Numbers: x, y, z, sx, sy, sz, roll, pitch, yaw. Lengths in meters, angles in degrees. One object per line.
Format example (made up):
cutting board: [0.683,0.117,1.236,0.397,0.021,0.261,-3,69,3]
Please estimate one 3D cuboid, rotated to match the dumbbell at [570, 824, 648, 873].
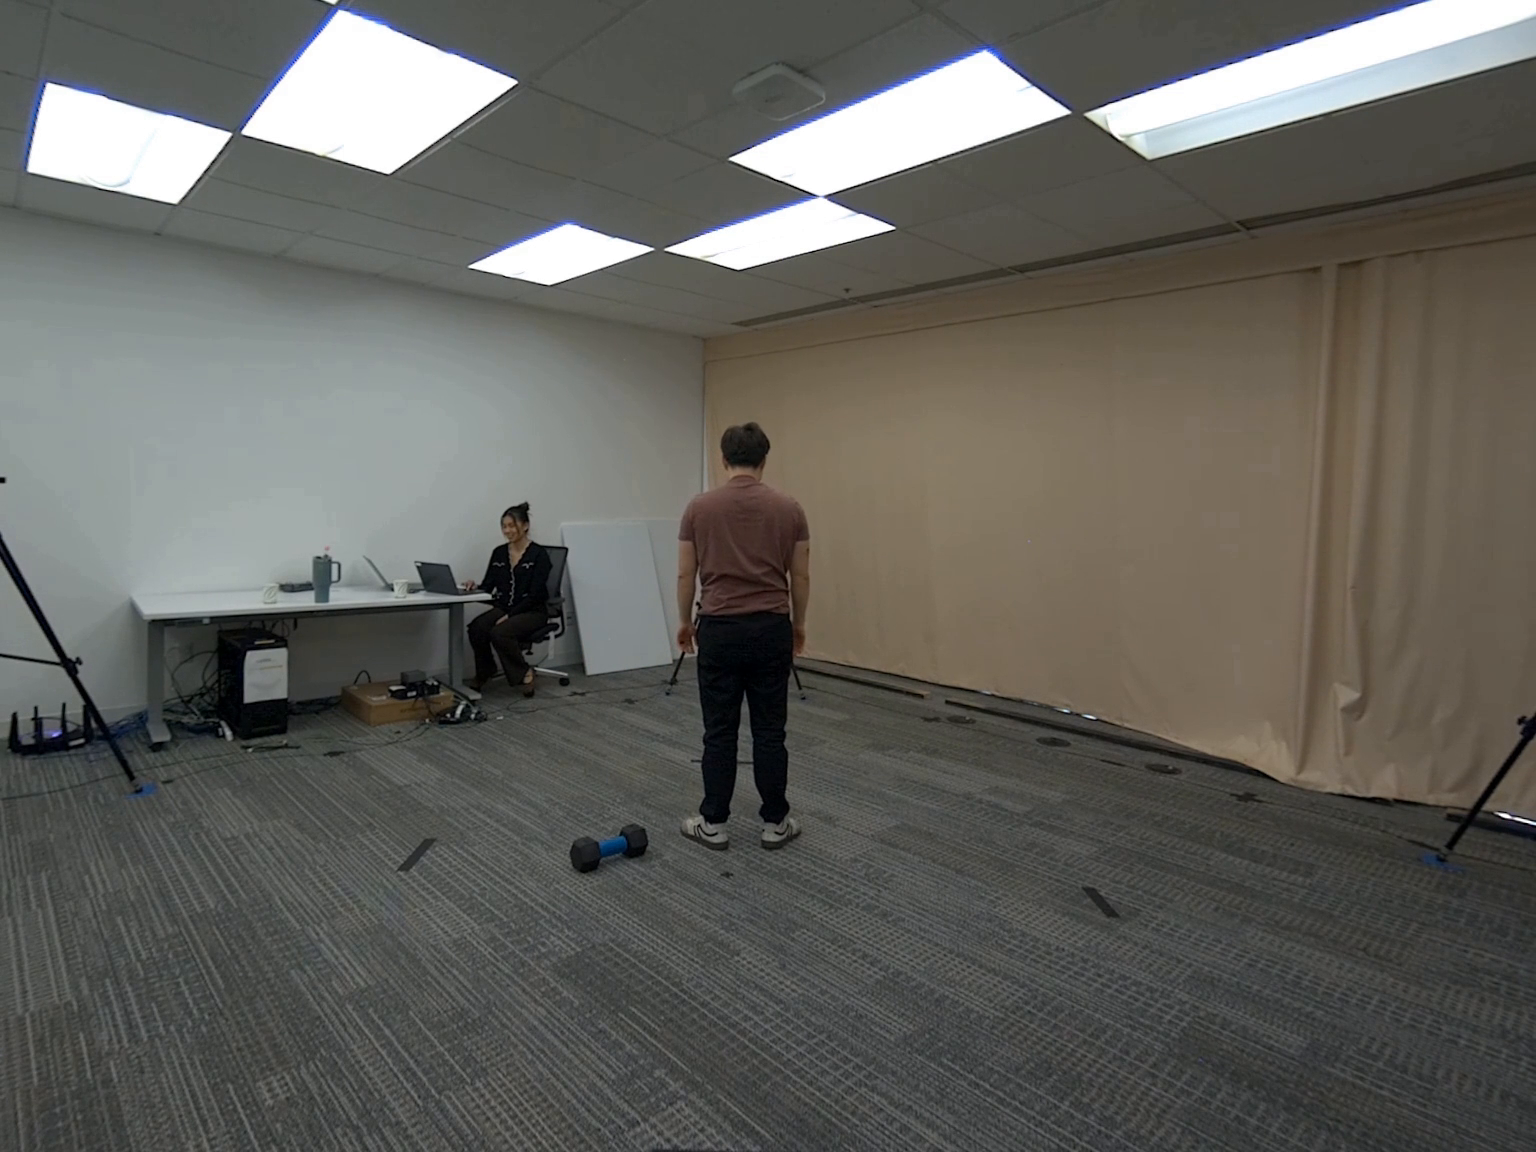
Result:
dumbbell: [-0.607,1.030,3.191,0.287,0.125,0.109,-4,-24,-42]
